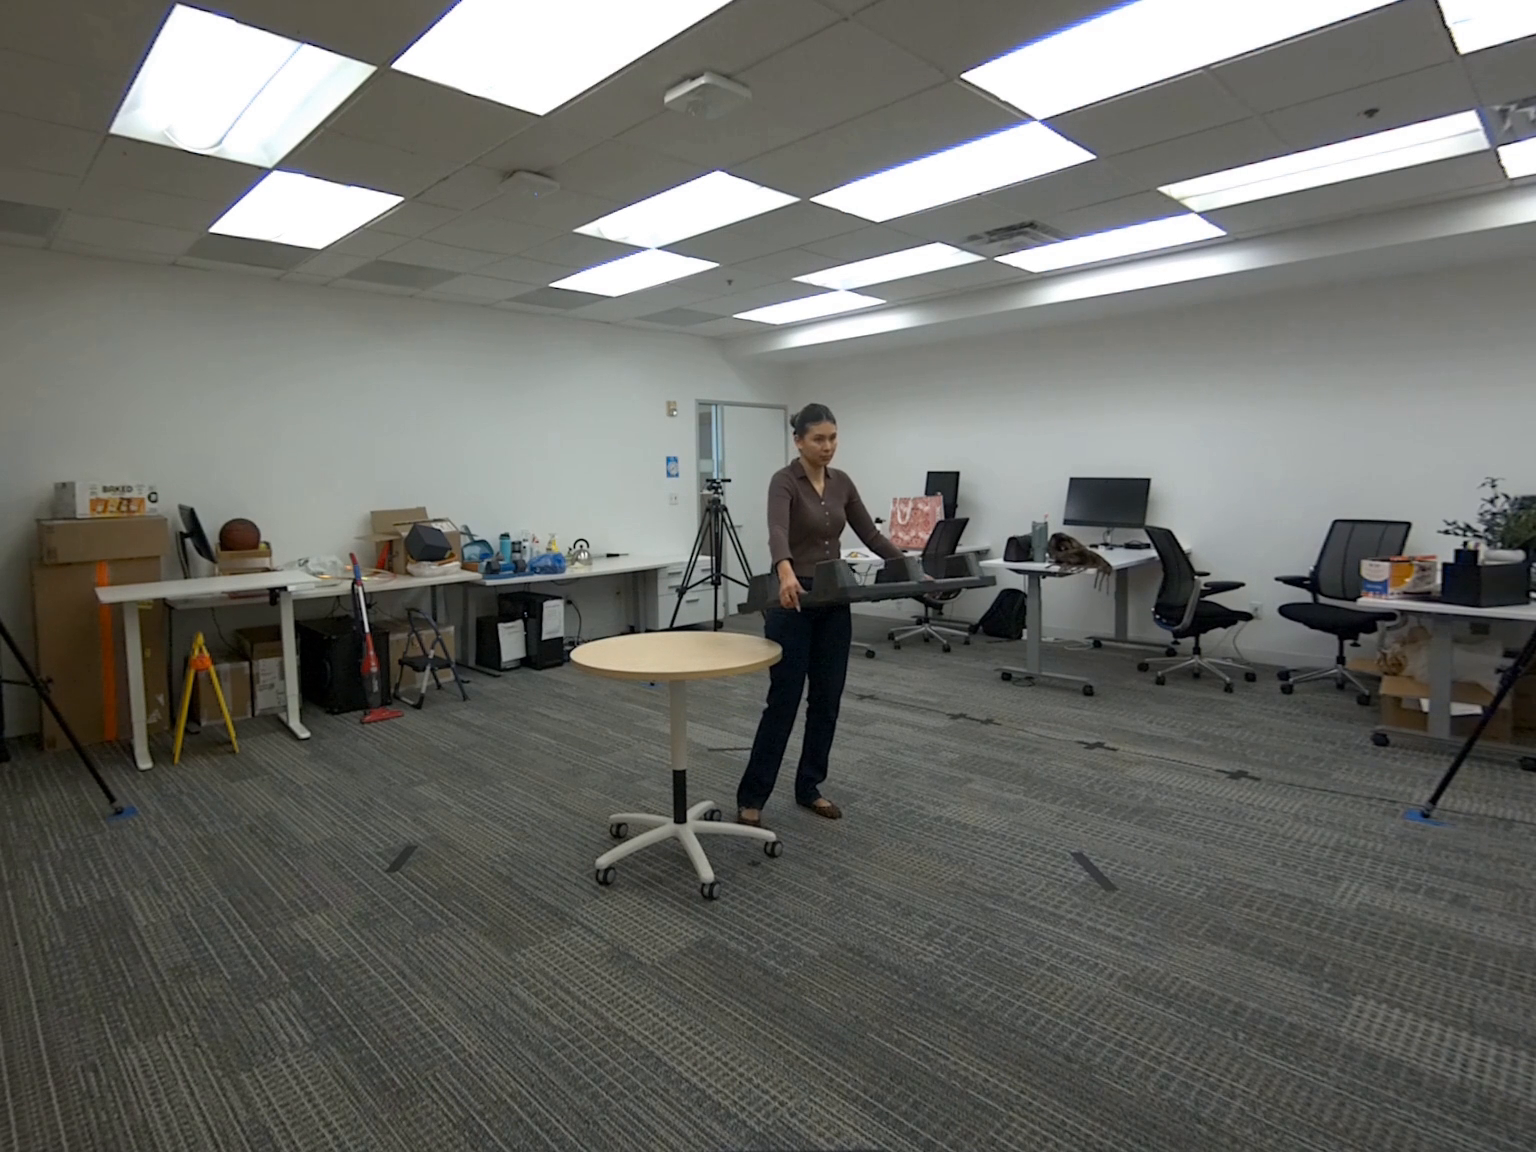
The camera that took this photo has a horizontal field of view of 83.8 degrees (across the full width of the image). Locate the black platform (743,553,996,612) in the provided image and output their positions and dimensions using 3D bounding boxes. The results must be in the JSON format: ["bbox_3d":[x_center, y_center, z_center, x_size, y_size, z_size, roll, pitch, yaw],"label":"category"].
[{"bbox_3d":[0.370,0.029,3.228,0.784,0.144,0.618,-4,-5,-37],"label":"black platform"}]
